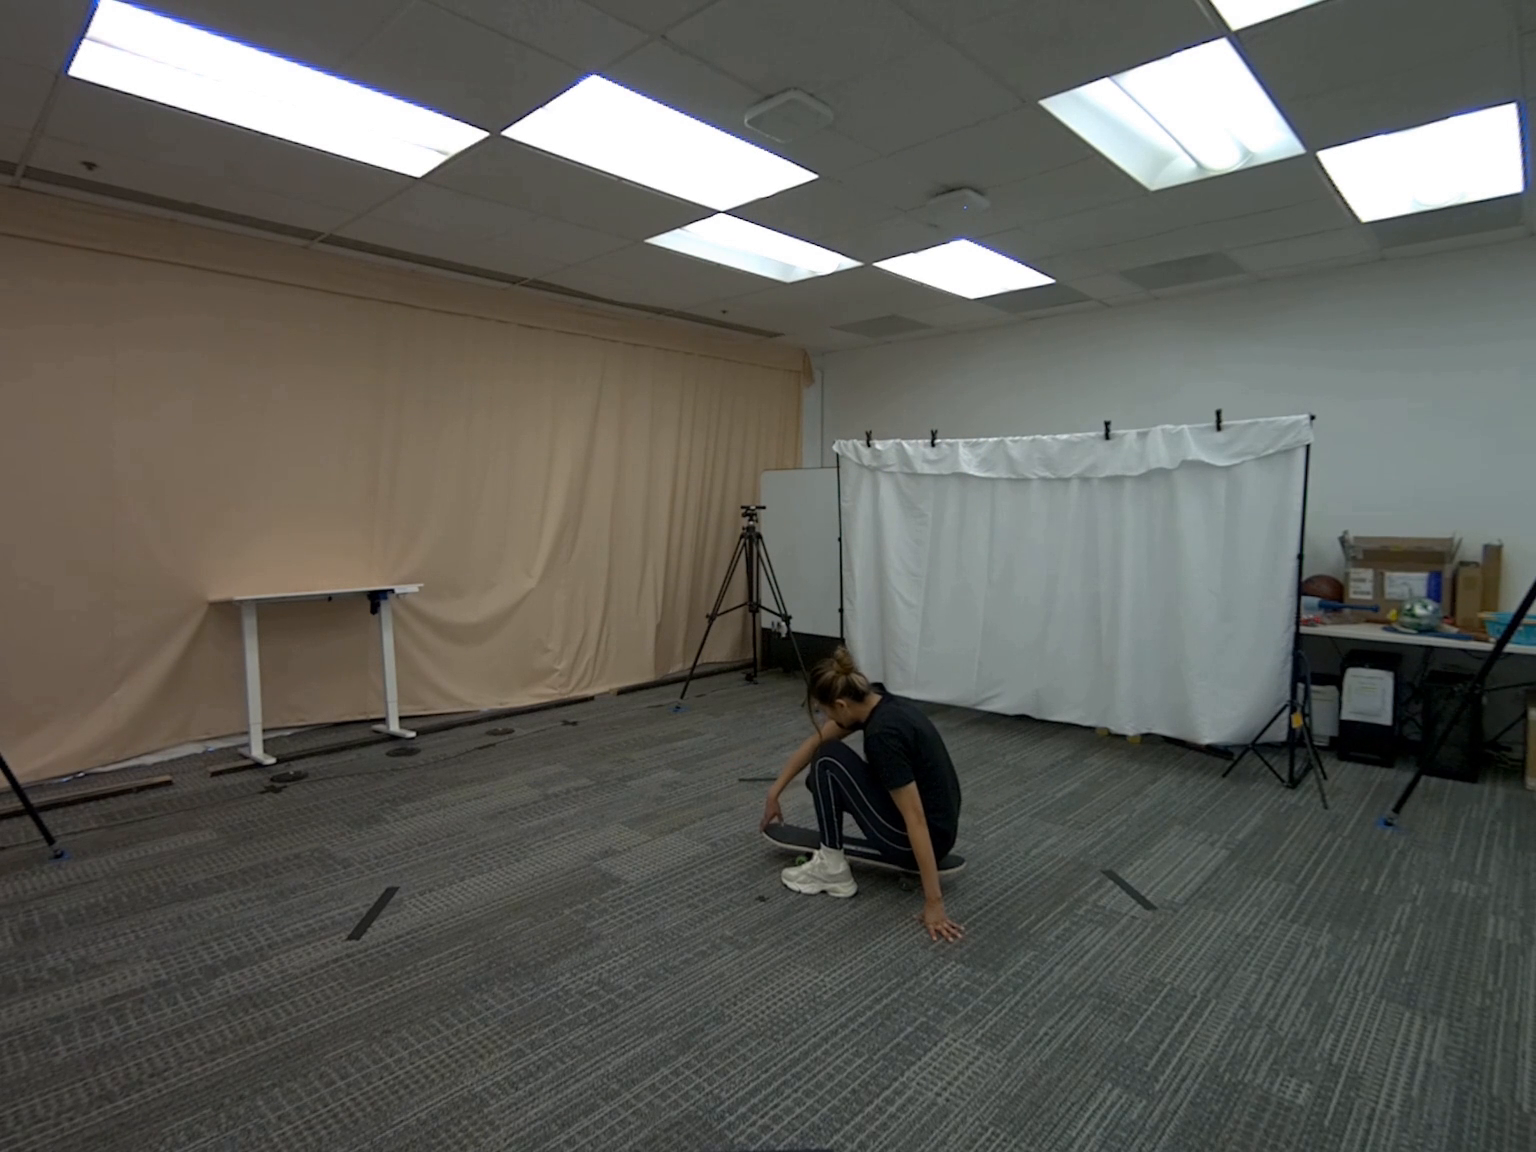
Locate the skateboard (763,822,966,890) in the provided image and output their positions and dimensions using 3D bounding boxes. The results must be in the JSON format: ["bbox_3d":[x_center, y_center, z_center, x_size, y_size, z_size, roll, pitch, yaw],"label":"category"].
[{"bbox_3d":[0.344,1.059,3.203,0.805,0.110,0.189,2,4,25],"label":"skateboard"}]
